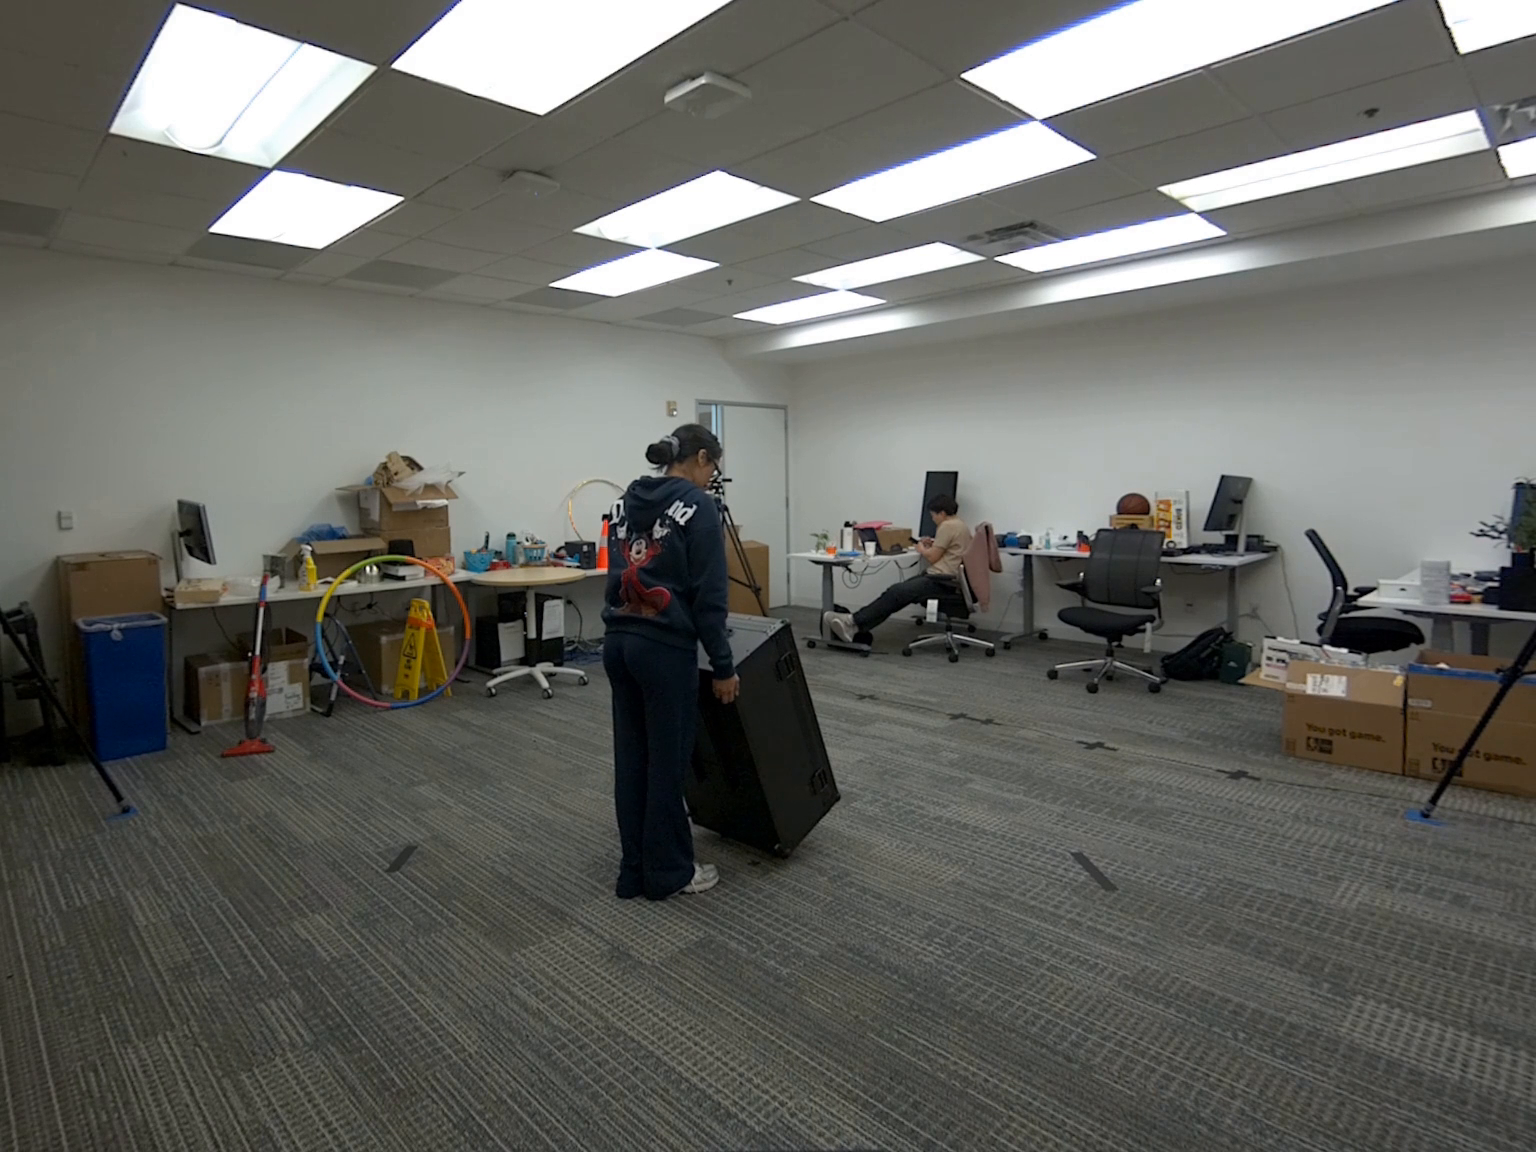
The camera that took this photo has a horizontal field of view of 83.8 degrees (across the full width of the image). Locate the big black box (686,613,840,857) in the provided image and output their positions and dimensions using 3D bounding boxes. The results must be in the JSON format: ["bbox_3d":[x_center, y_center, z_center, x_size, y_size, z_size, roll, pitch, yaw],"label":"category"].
[{"bbox_3d":[-0.100,0.603,3.188,0.537,0.842,0.393,4,28,42],"label":"big black box"}]
